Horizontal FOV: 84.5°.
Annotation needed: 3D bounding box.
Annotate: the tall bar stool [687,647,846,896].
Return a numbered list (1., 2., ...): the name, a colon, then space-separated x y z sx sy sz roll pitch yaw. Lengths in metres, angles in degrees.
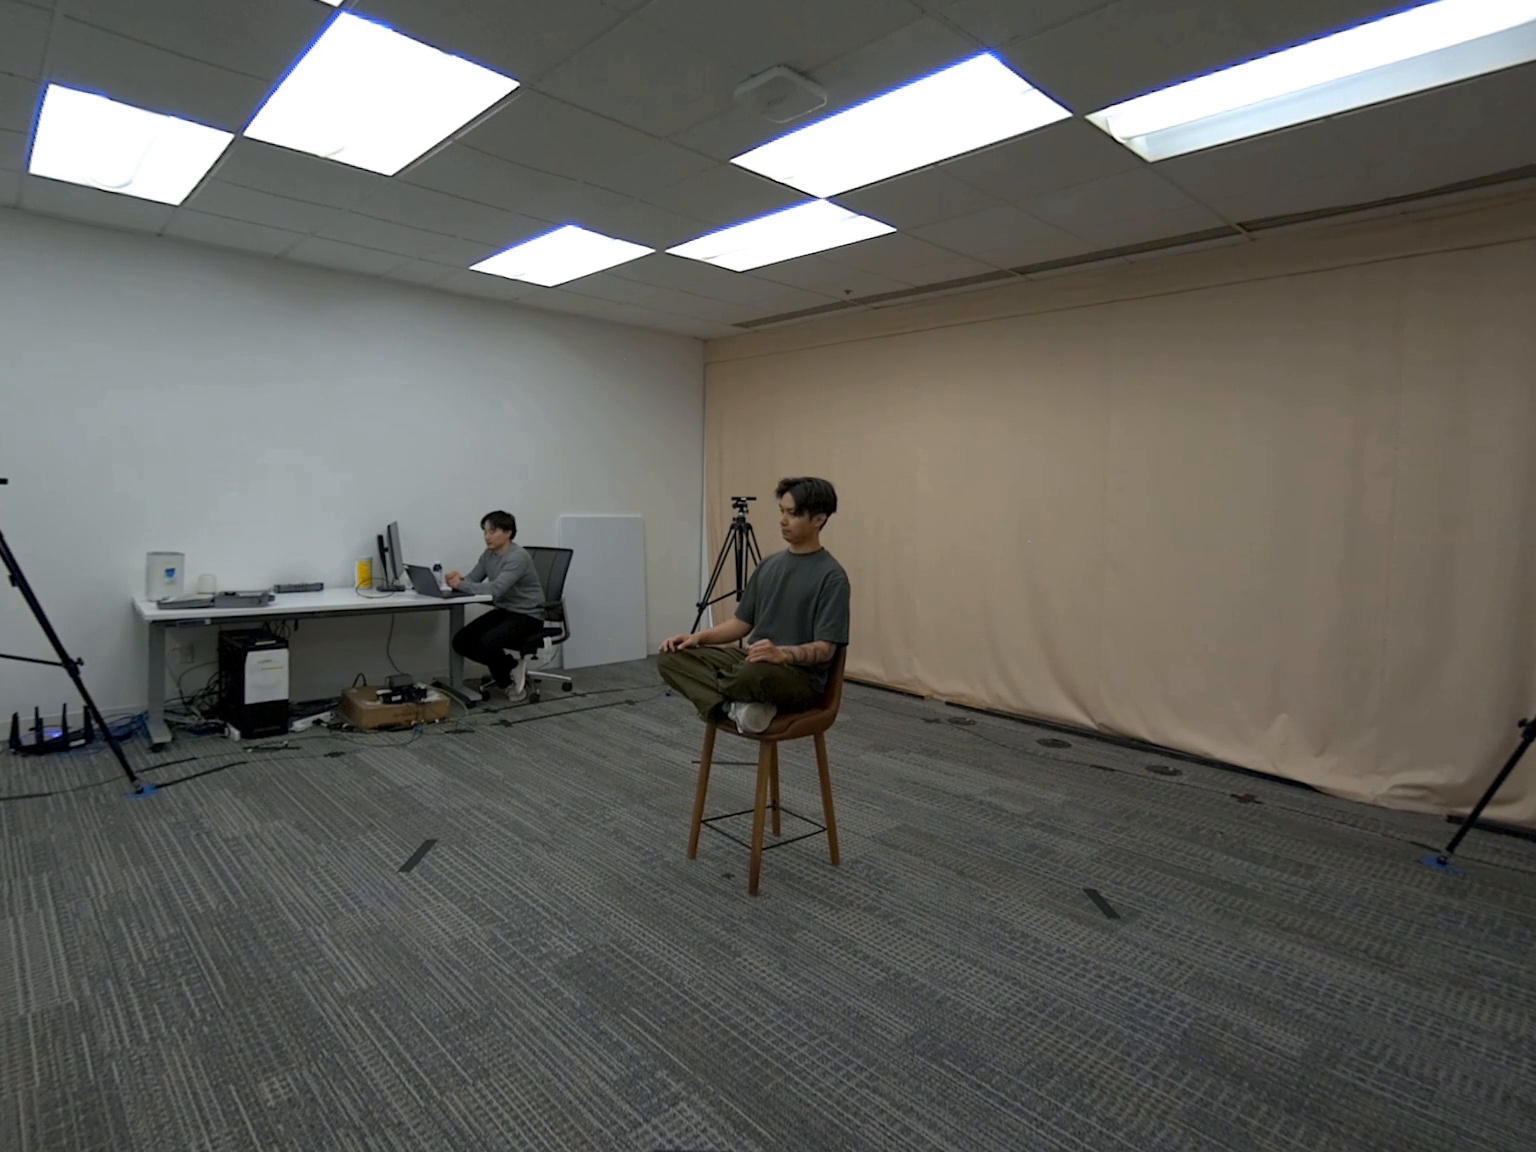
1. tall bar stool: 0.001 0.663 3.221 0.456 0.889 0.468 2 2 -39
